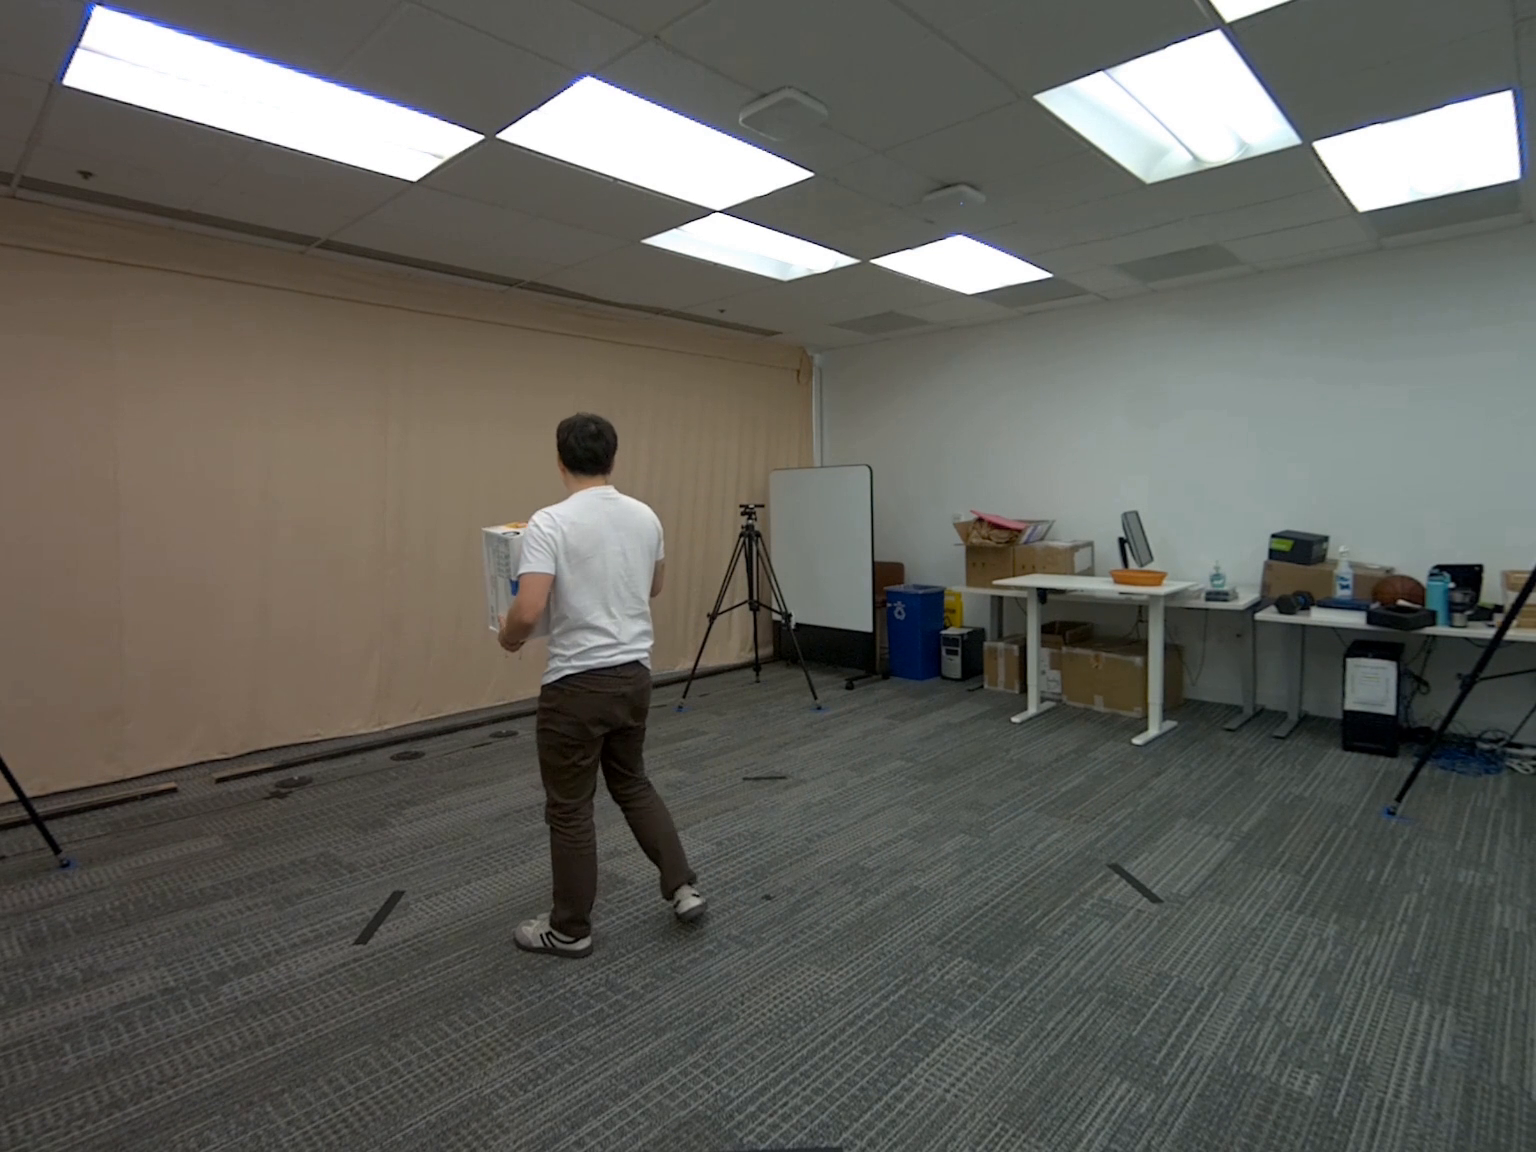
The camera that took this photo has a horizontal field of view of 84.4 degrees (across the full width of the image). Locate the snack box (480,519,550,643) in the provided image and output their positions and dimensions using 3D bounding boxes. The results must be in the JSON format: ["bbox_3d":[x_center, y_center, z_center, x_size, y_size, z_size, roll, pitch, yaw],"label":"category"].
[{"bbox_3d":[-0.701,-0.009,2.792,0.394,0.337,0.213,-14,19,-42],"label":"snack box"}]
